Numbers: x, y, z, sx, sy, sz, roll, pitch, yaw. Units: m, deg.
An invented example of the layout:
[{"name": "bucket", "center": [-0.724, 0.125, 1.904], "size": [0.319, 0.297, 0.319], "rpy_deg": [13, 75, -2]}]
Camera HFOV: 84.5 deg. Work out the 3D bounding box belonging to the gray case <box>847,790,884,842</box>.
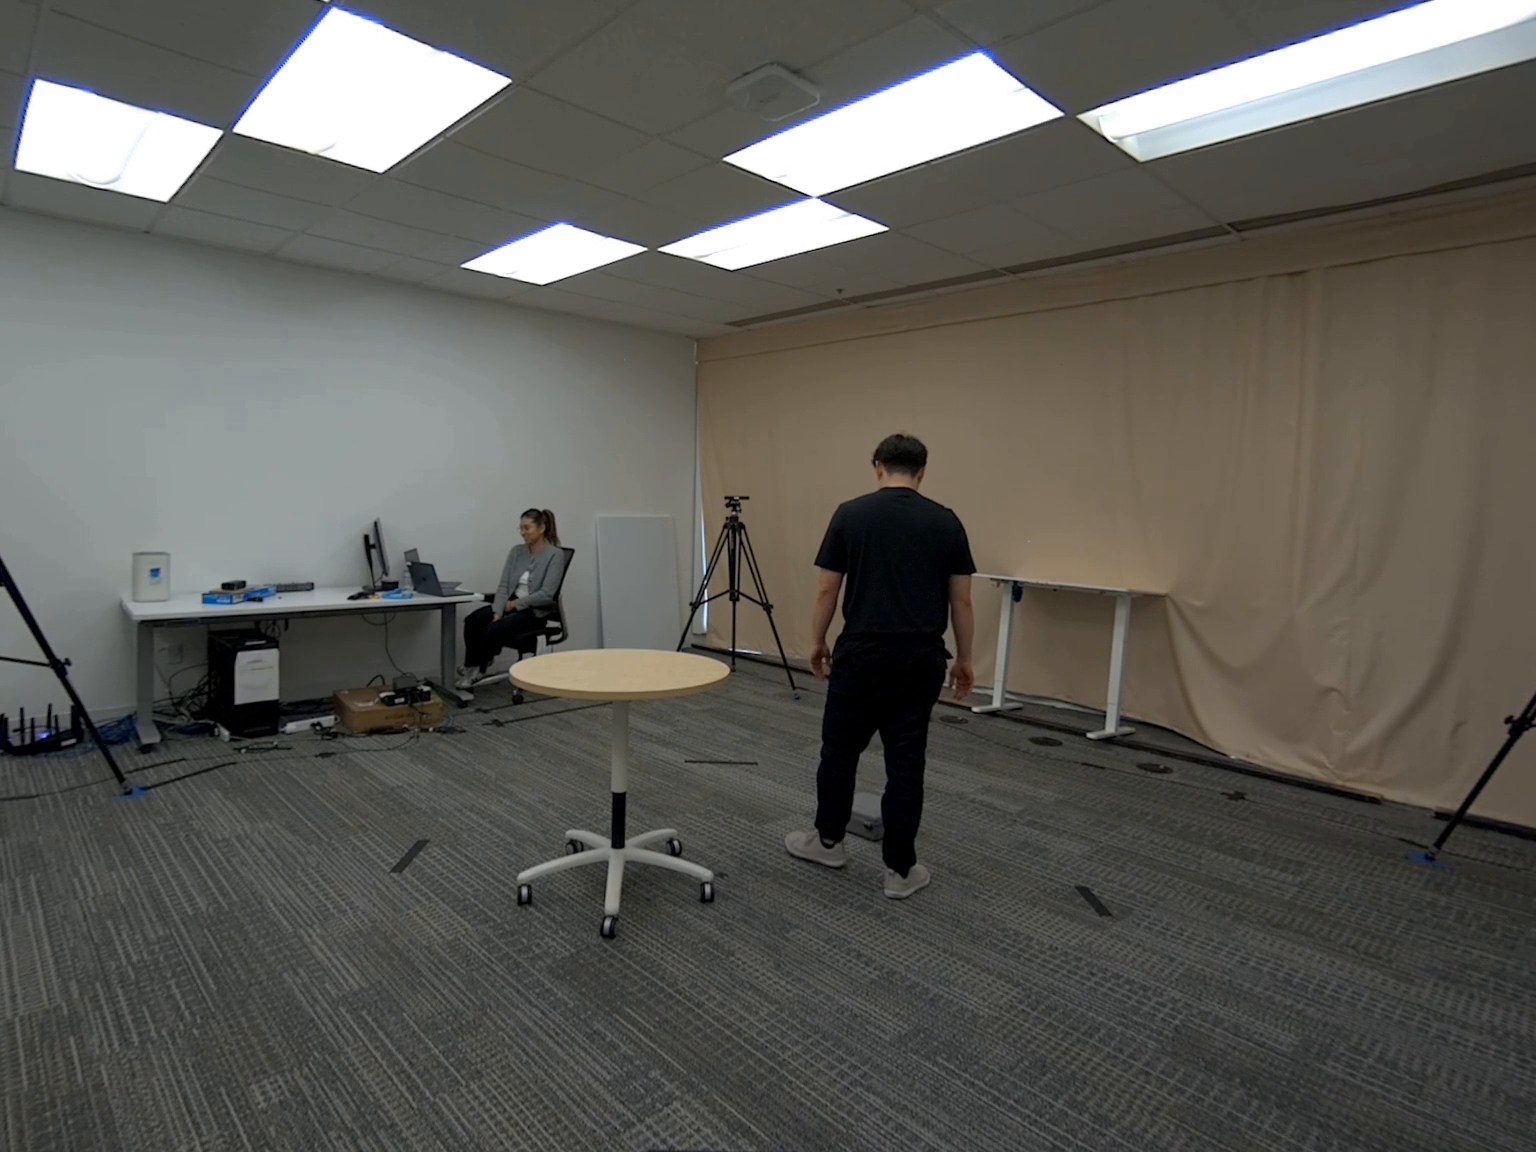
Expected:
[{"name": "gray case", "center": [0.428, 1.021, 3.611], "size": [0.263, 0.104, 0.254], "rpy_deg": [3, 4, 44]}]
